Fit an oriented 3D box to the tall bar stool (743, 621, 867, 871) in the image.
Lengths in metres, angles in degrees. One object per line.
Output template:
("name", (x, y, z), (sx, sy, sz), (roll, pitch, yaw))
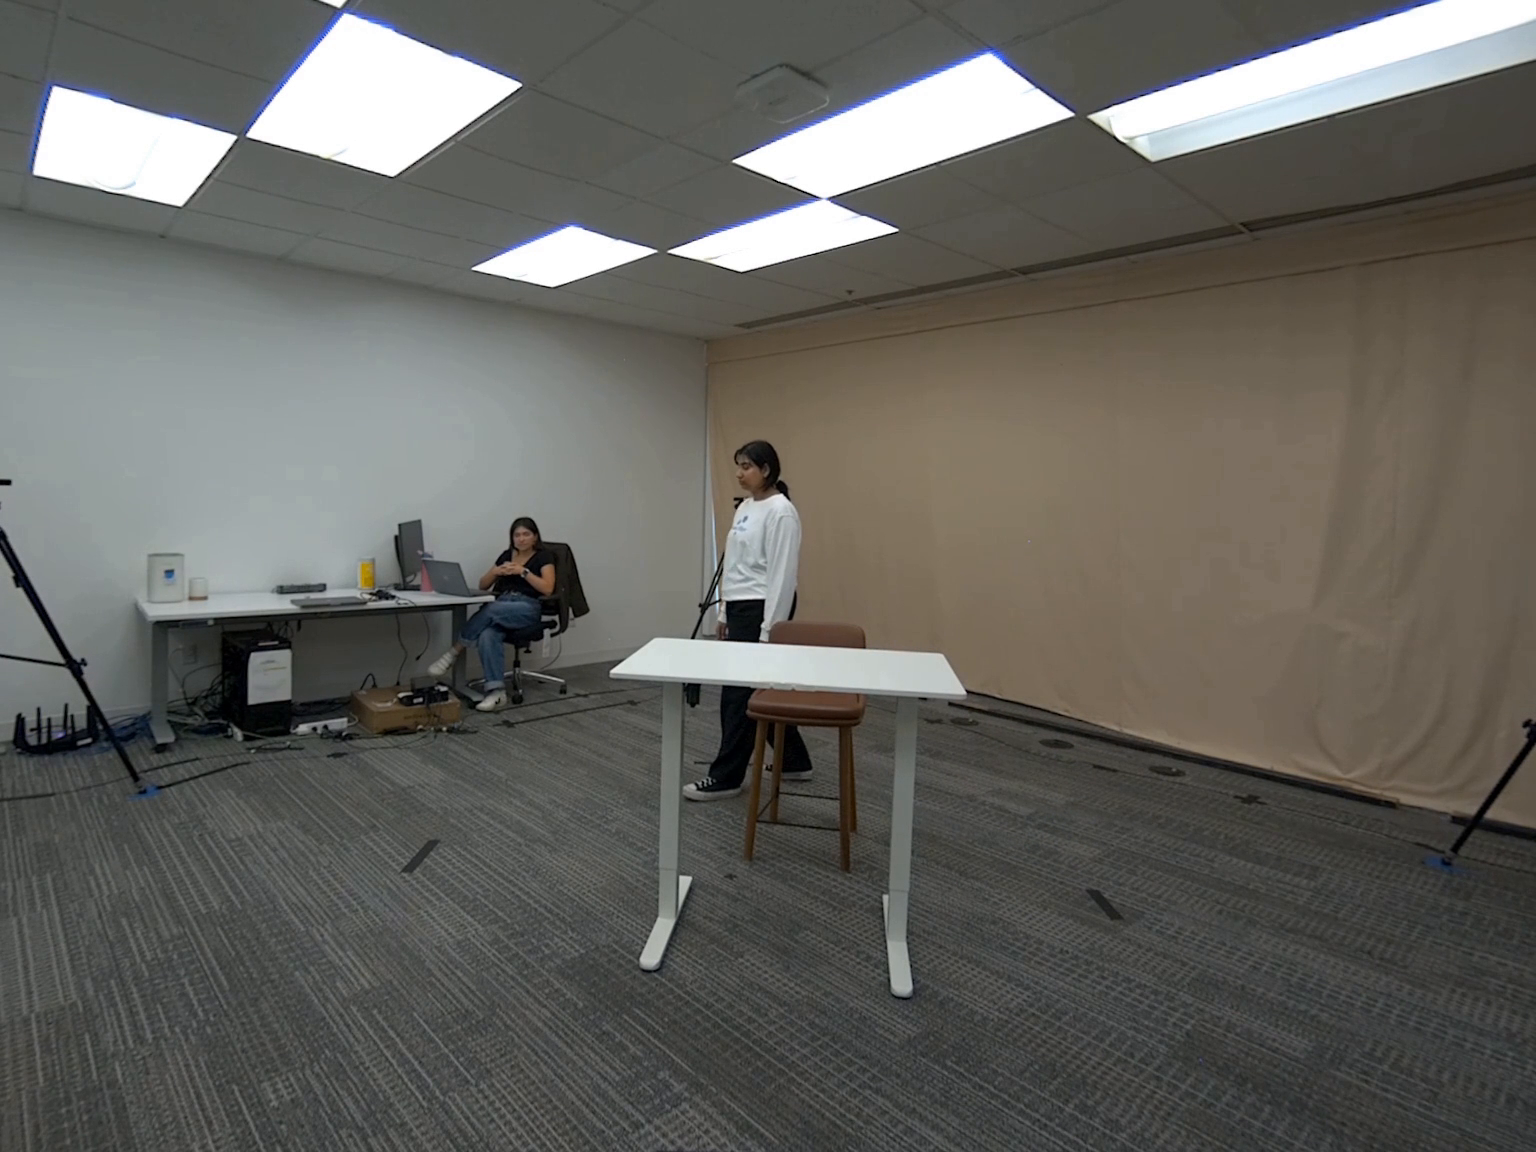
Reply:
("tall bar stool", (0.154, 0.656, 3.404), (0.462, 0.889, 0.462), (2, 1, 14))
